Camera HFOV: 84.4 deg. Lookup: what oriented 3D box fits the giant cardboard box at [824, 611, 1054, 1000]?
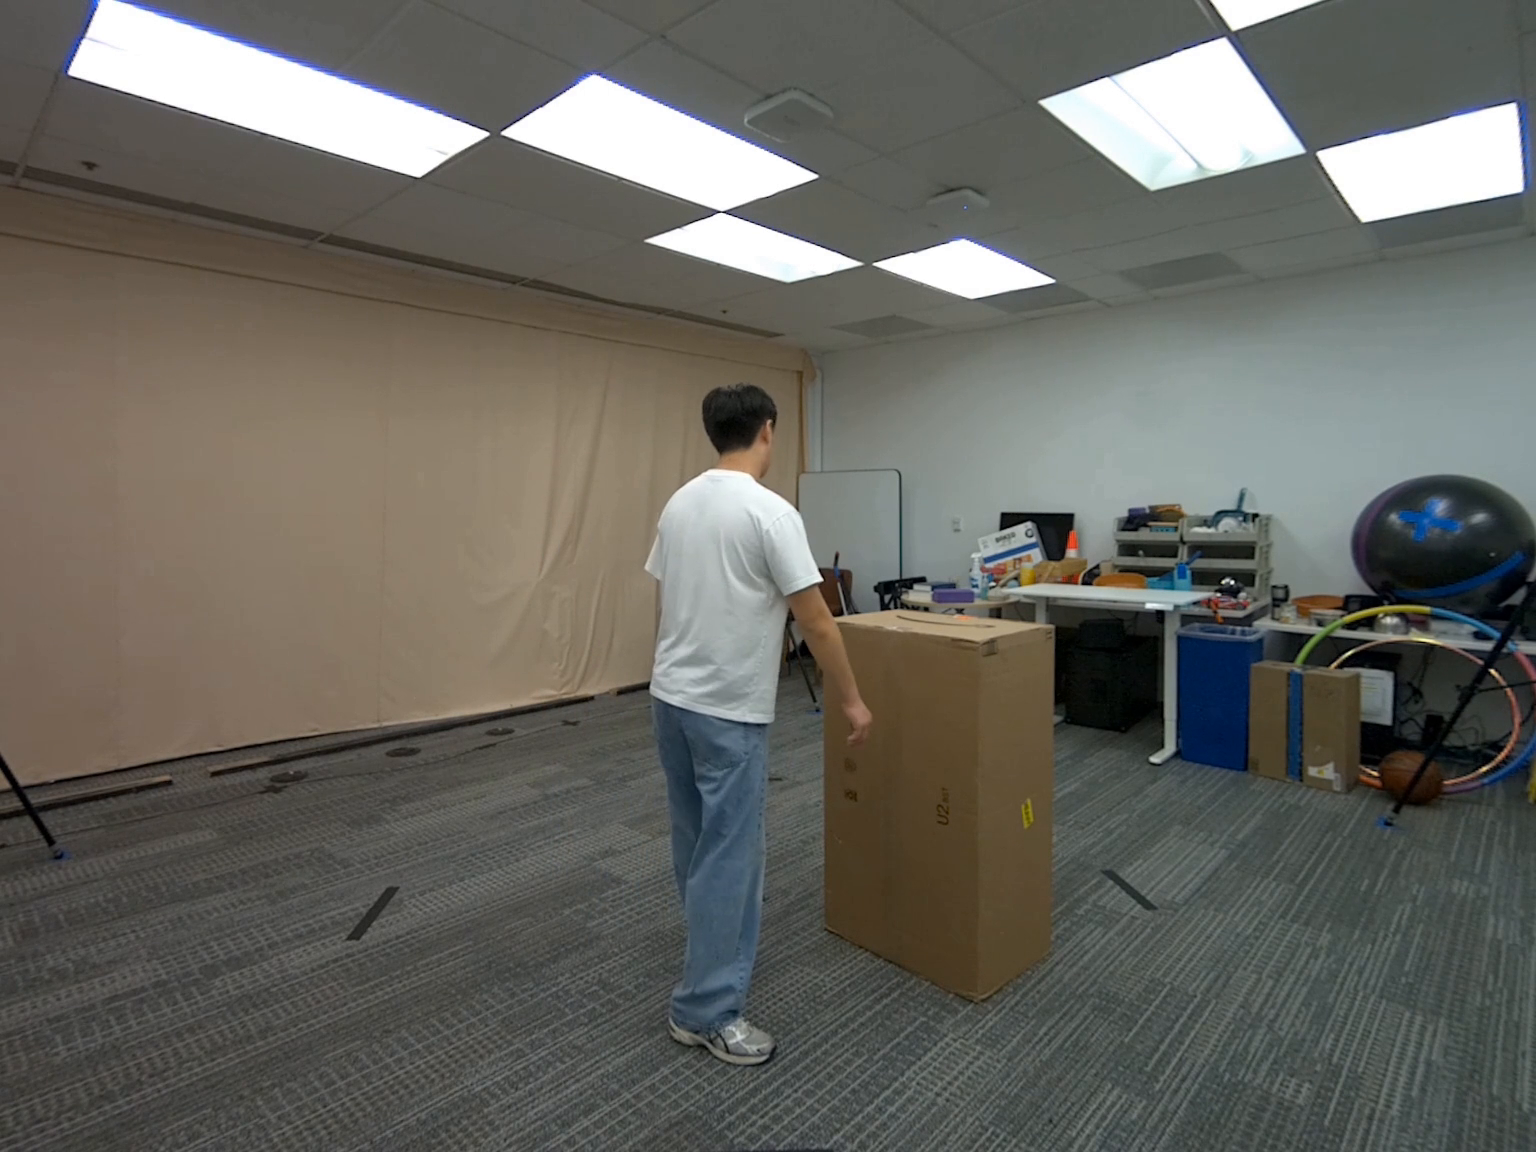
[{"bbox_3d":[0.536,0.657,2.679,0.413,1.024,0.597,-3,4,-43],"label":"giant cardboard box"}]
